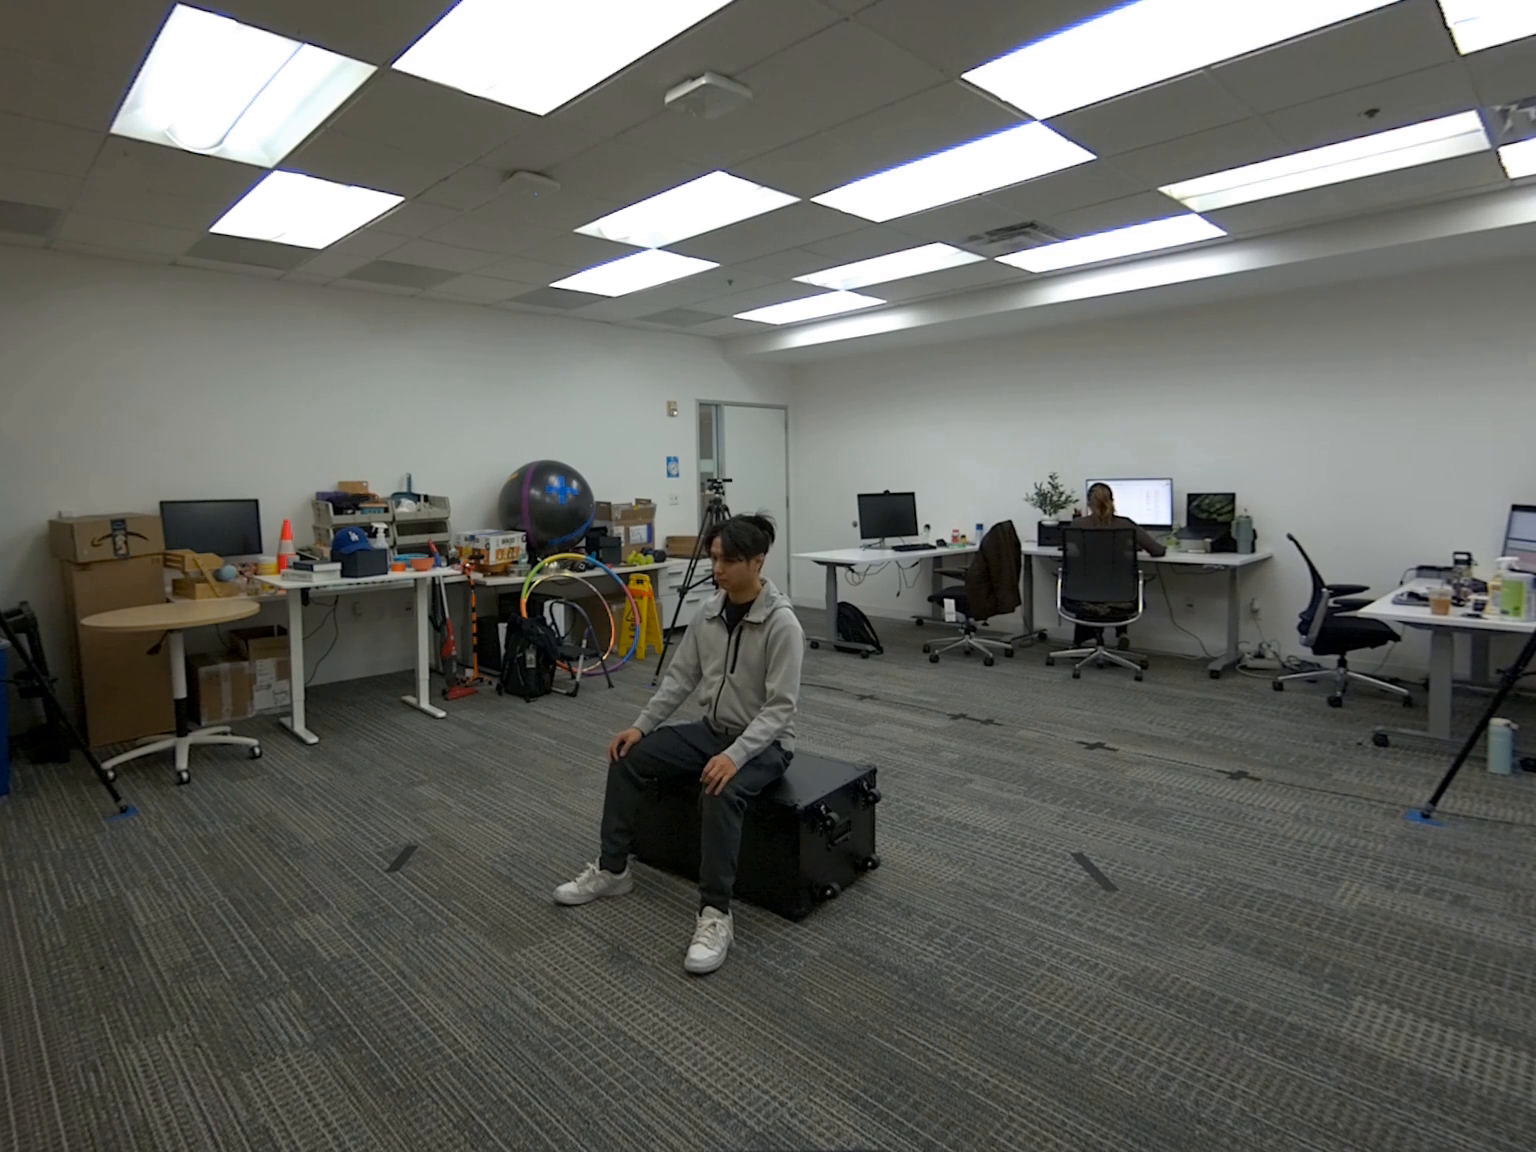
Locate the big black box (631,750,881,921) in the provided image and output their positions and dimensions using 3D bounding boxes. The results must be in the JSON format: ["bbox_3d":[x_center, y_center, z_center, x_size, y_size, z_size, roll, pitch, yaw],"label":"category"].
[{"bbox_3d":[-0.090,0.862,3.116,0.887,0.395,0.508,4,7,39],"label":"big black box"}]
